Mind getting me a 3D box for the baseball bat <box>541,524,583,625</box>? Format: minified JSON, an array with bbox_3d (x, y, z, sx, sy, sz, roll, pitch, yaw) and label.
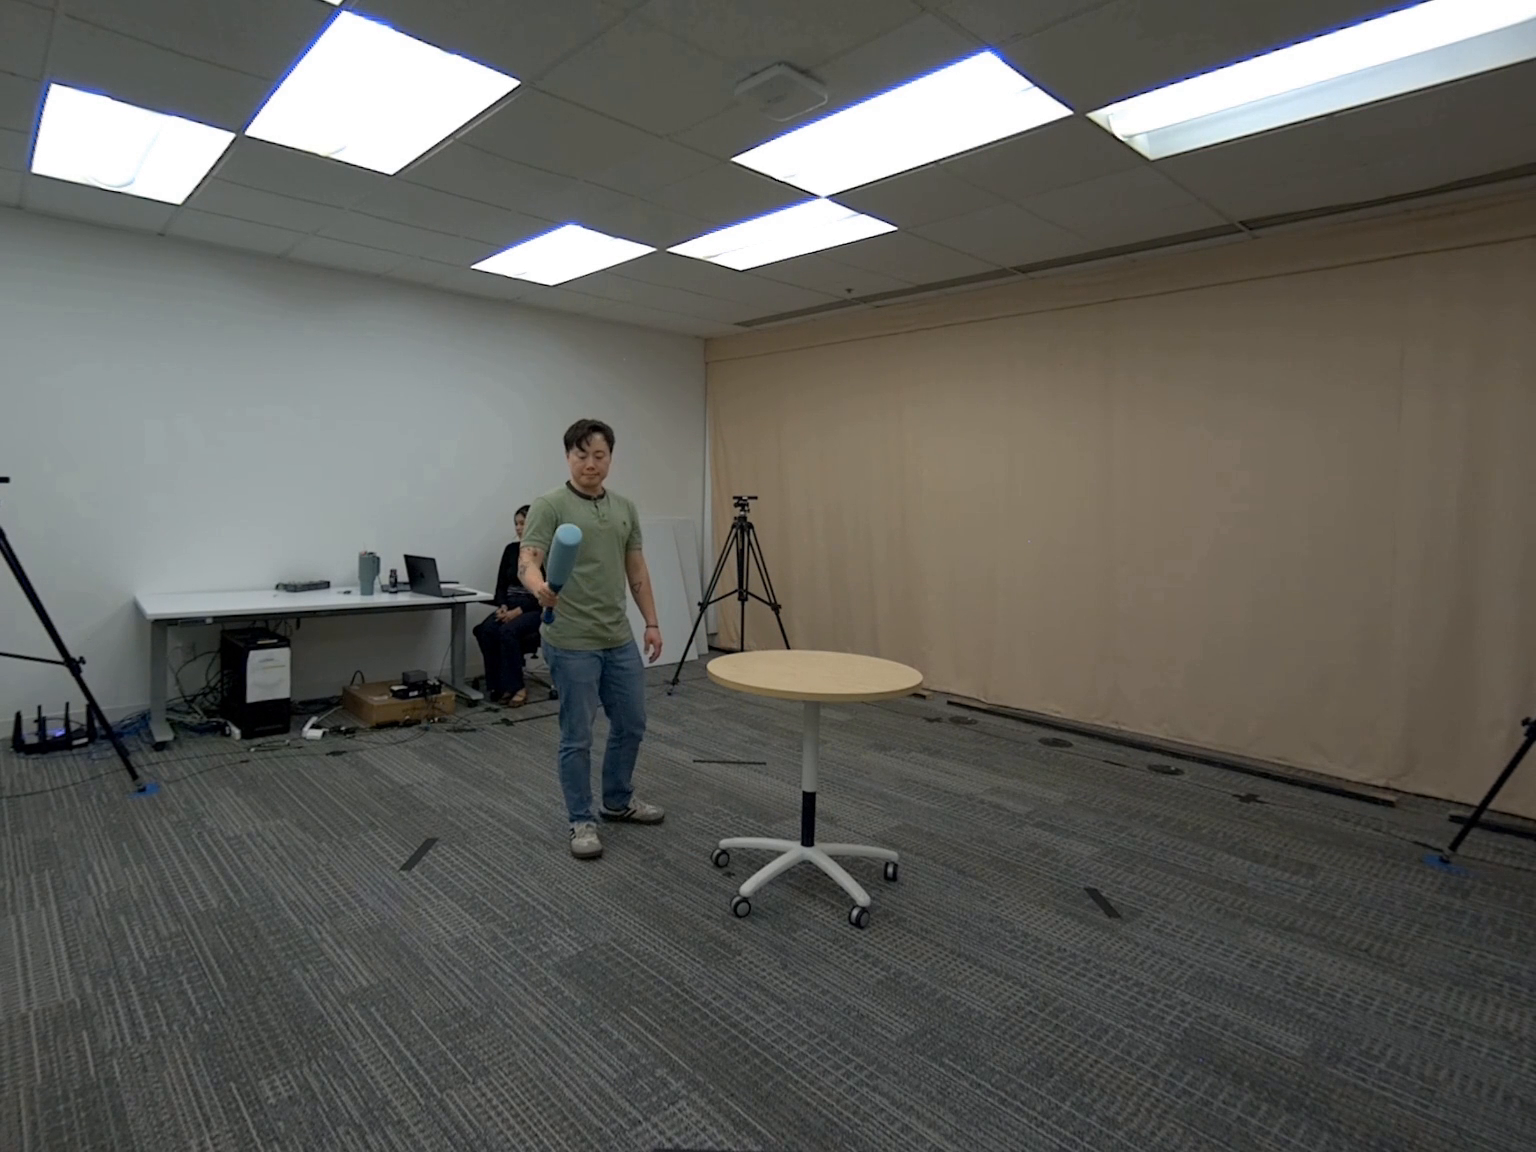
[{"bbox_3d":[-0.695,0.012,2.768,0.088,0.091,0.538,1,-32,-19],"label":"baseball bat"}]
